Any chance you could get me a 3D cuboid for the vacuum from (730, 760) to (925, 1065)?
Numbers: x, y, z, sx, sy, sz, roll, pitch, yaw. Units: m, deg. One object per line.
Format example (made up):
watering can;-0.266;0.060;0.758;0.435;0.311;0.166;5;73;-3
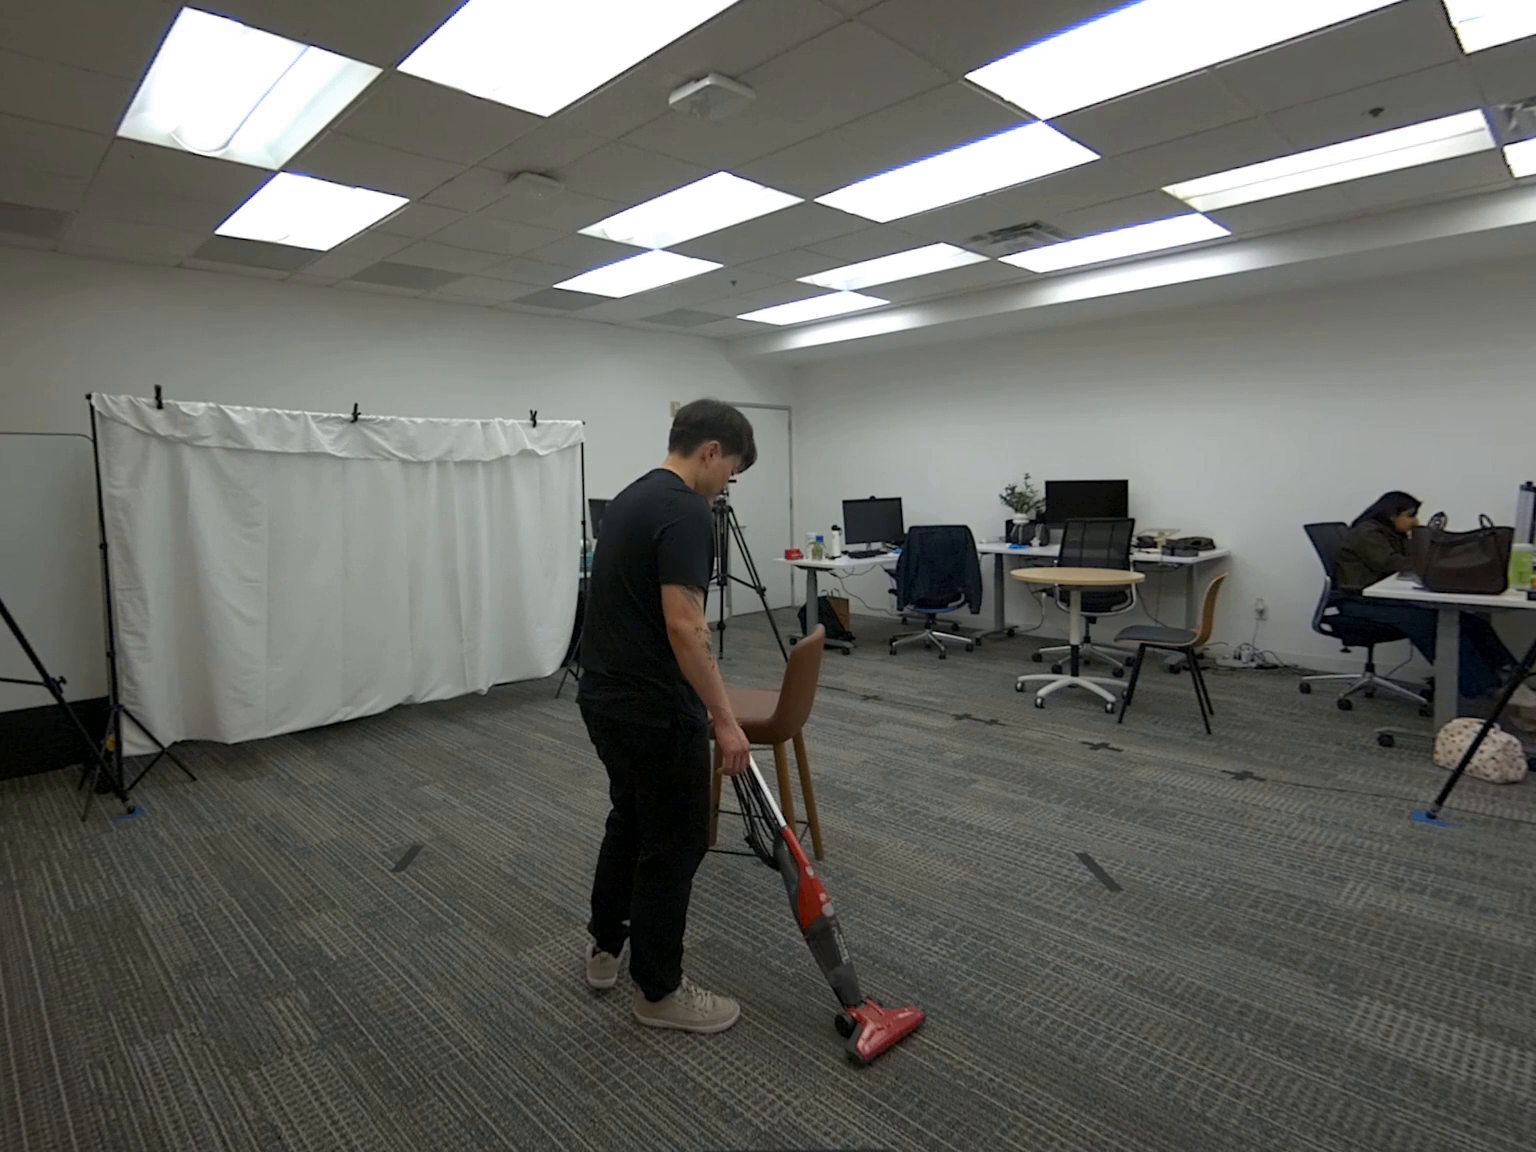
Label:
vacuum;0.021;0.718;2.391;0.245;1.082;0.144;0;-40;-47
